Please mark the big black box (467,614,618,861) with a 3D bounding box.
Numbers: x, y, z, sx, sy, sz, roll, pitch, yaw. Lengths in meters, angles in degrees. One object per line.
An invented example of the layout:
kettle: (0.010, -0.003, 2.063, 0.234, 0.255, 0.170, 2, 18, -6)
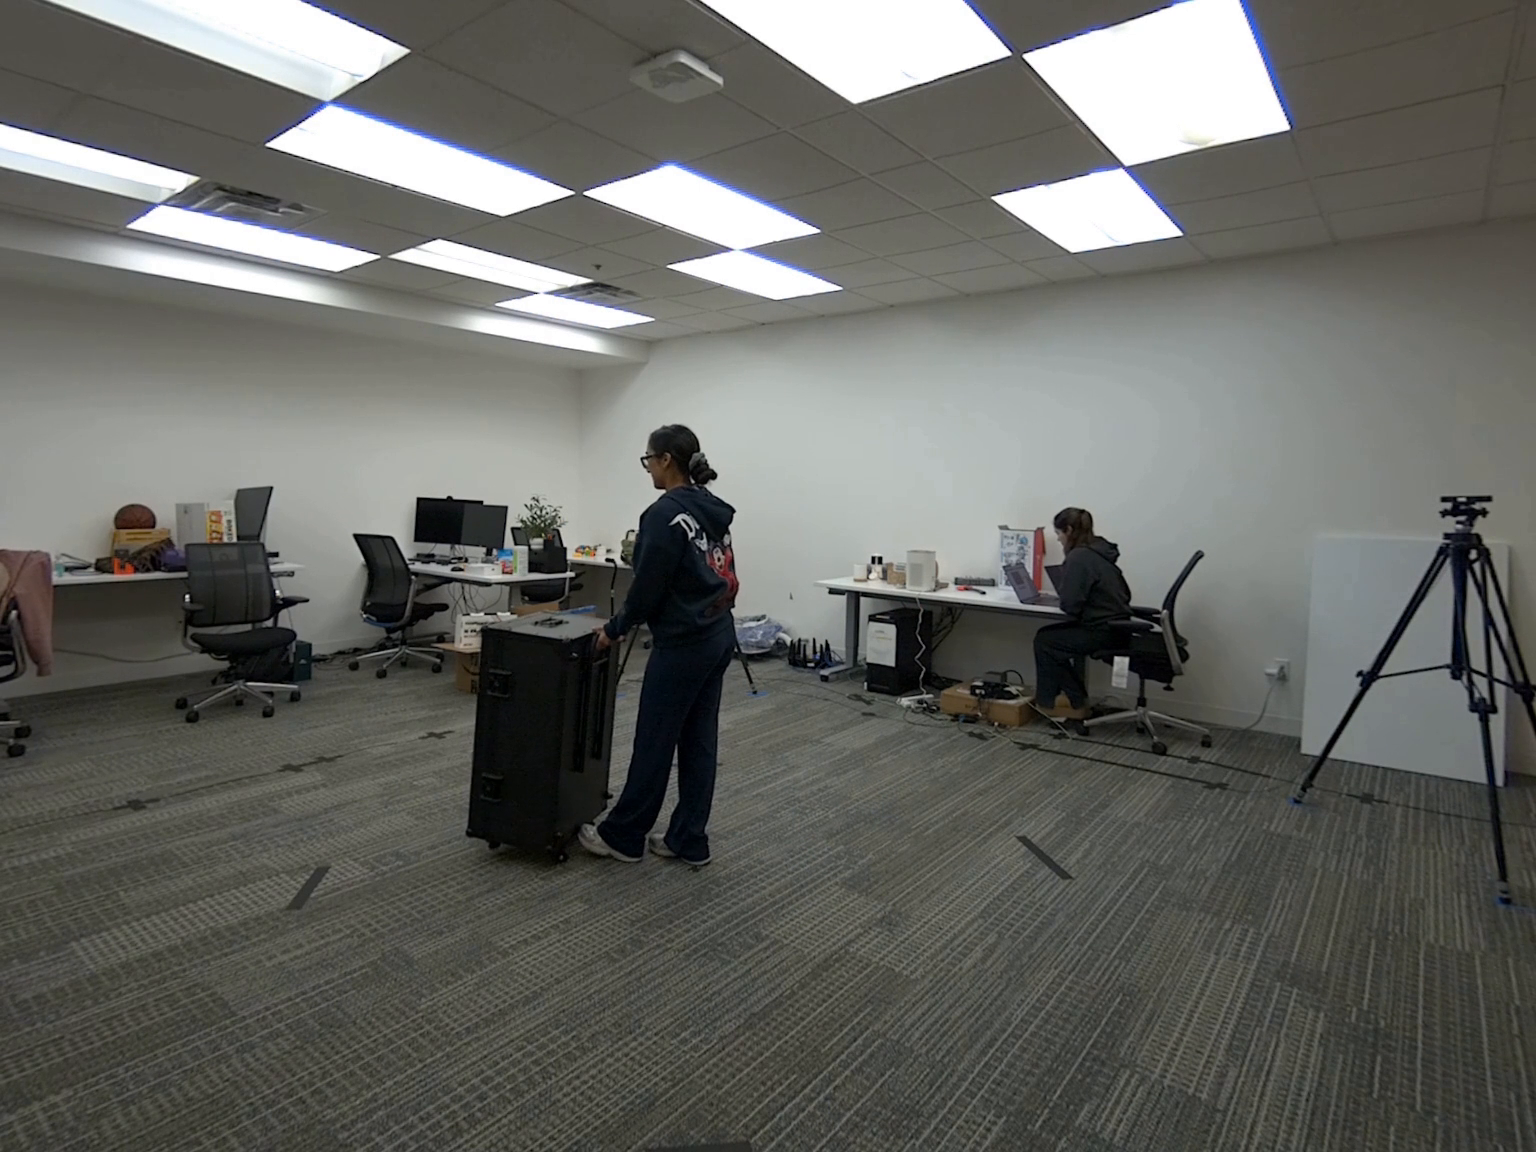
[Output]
big black box: (-0.853, 0.605, 3.291, 0.403, 0.859, 0.514, 7, 4, 13)
